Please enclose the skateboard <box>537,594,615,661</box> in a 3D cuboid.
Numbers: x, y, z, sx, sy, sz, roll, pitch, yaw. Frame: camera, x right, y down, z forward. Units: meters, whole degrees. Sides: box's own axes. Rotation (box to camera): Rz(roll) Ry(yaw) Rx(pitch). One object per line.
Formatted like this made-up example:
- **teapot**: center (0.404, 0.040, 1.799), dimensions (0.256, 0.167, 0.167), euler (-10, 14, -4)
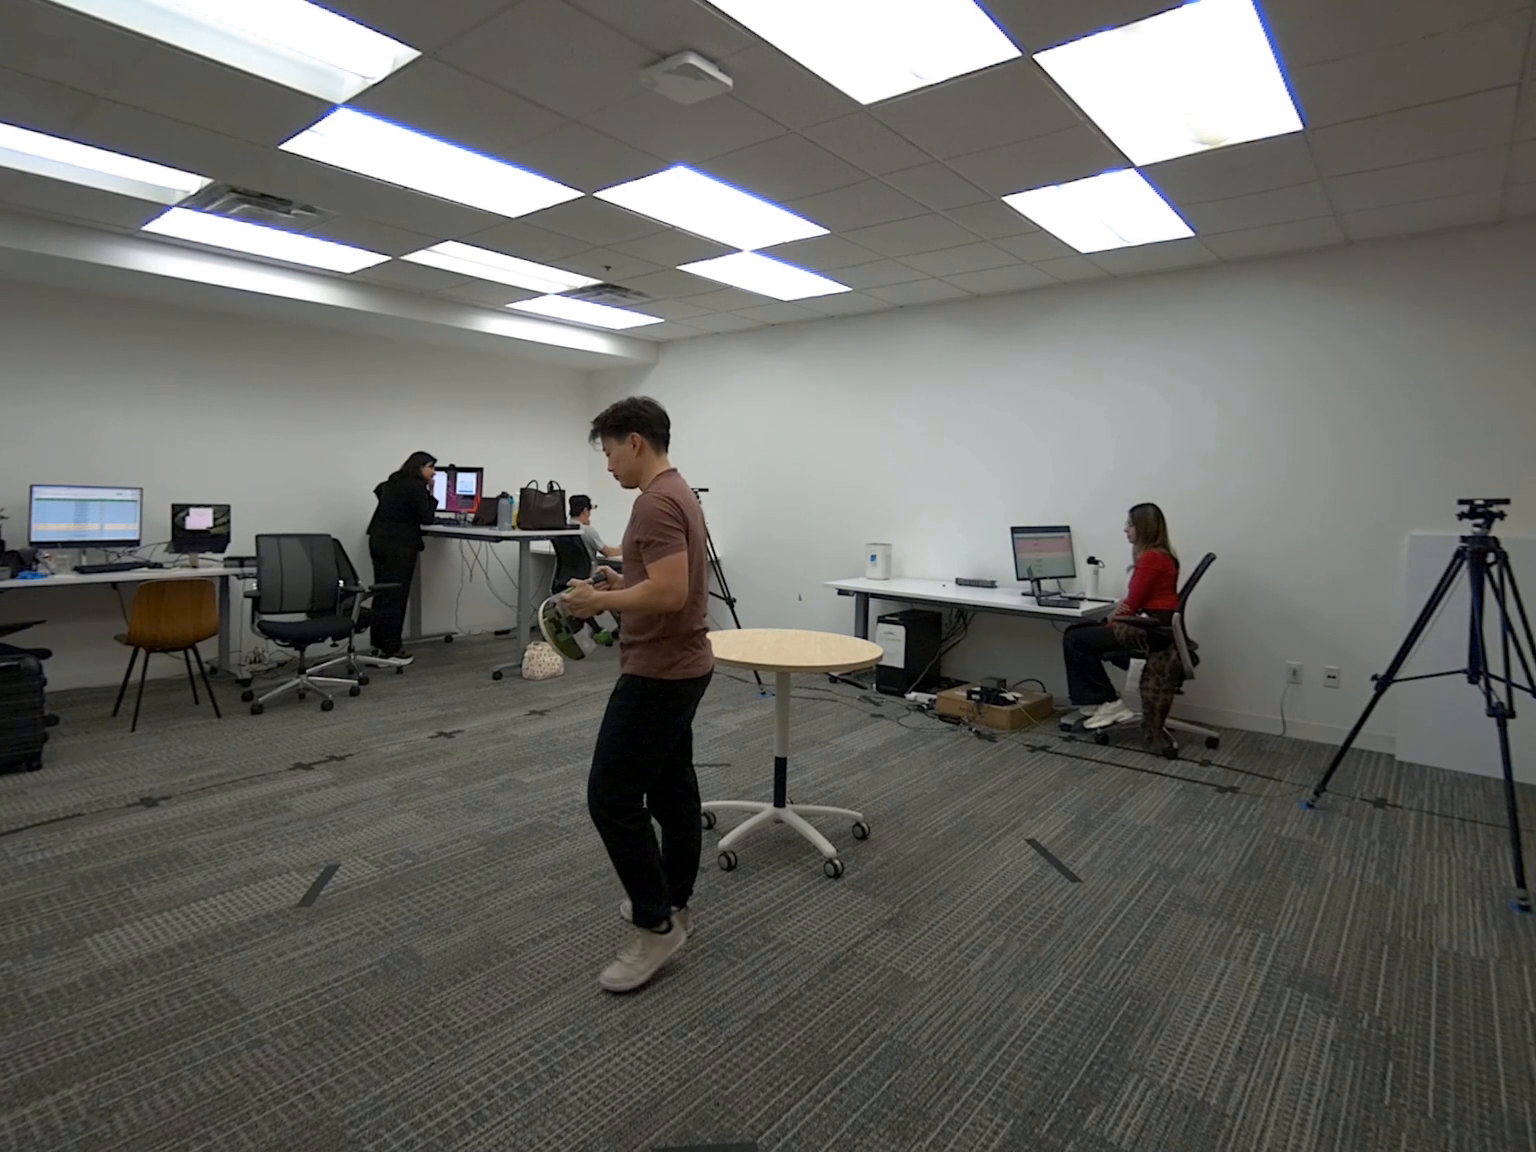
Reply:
- **skateboard**: center (-0.559, 0.114, 2.637), dimensions (0.110, 0.193, 0.787), euler (-30, 4, 2)
